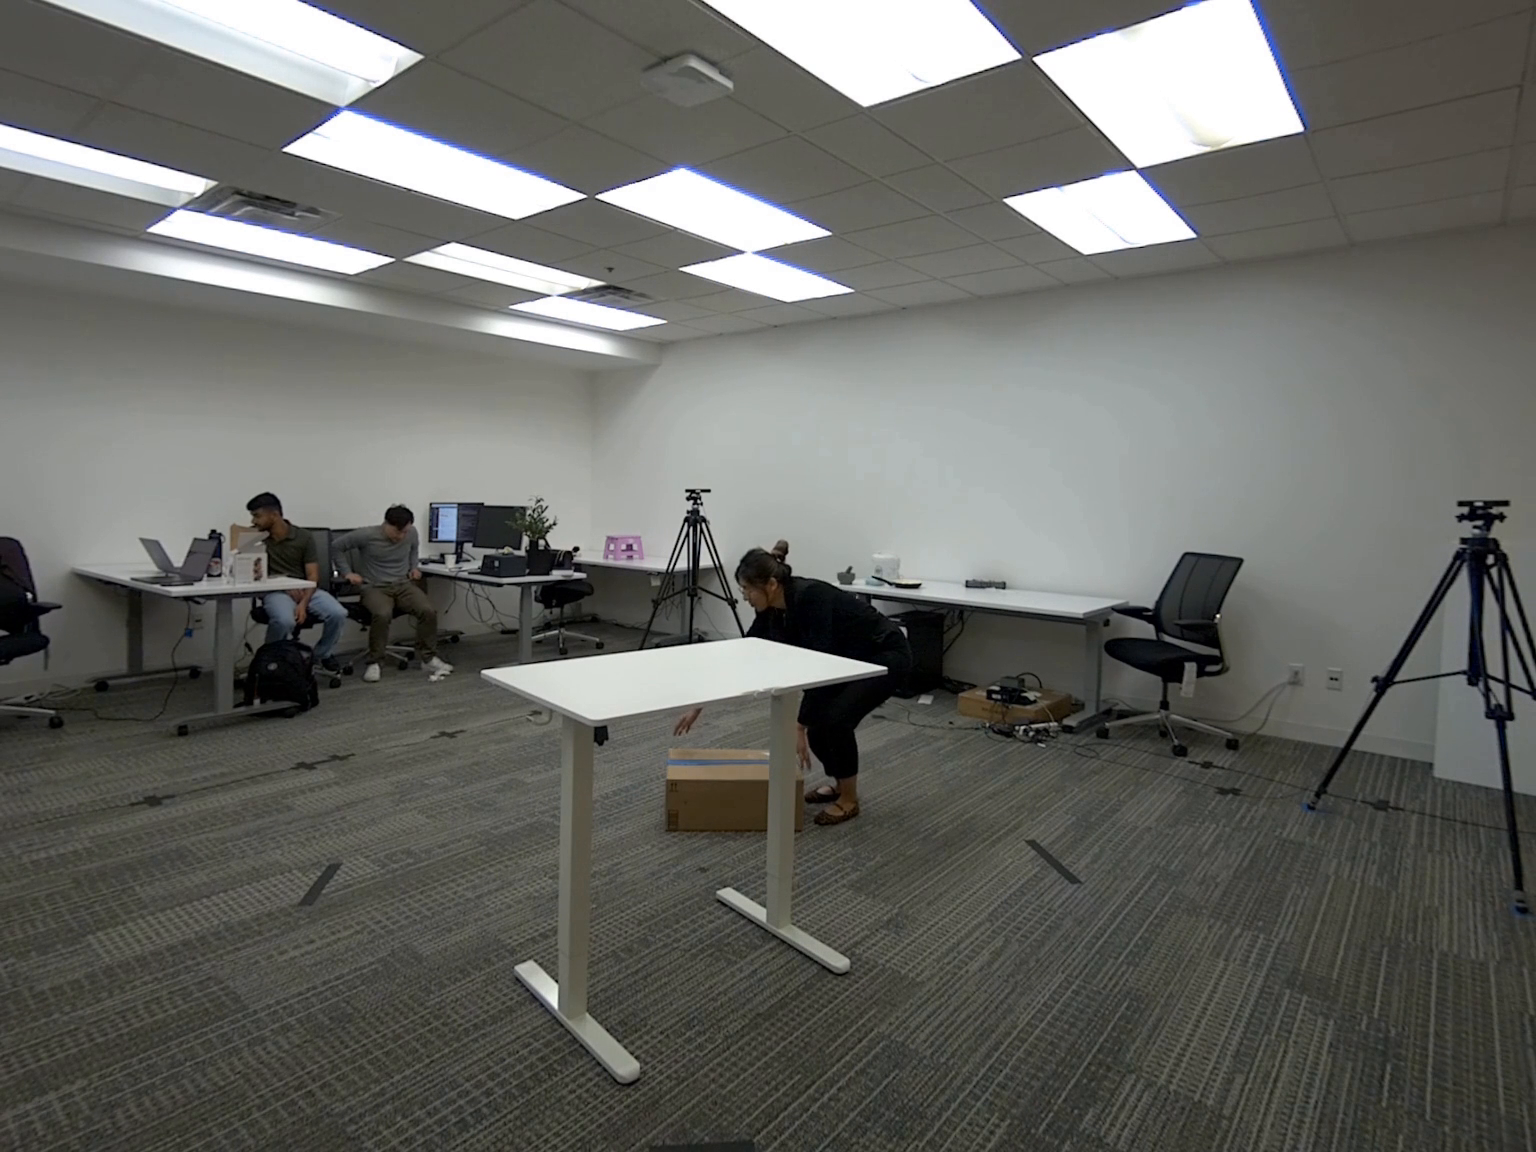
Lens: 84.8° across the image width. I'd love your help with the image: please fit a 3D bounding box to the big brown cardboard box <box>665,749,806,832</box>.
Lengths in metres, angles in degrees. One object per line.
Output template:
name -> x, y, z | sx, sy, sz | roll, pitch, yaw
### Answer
big brown cardboard box -> -0.166, 0.908, 3.675 | 0.586, 0.232, 0.421 | 0, 5, -5
